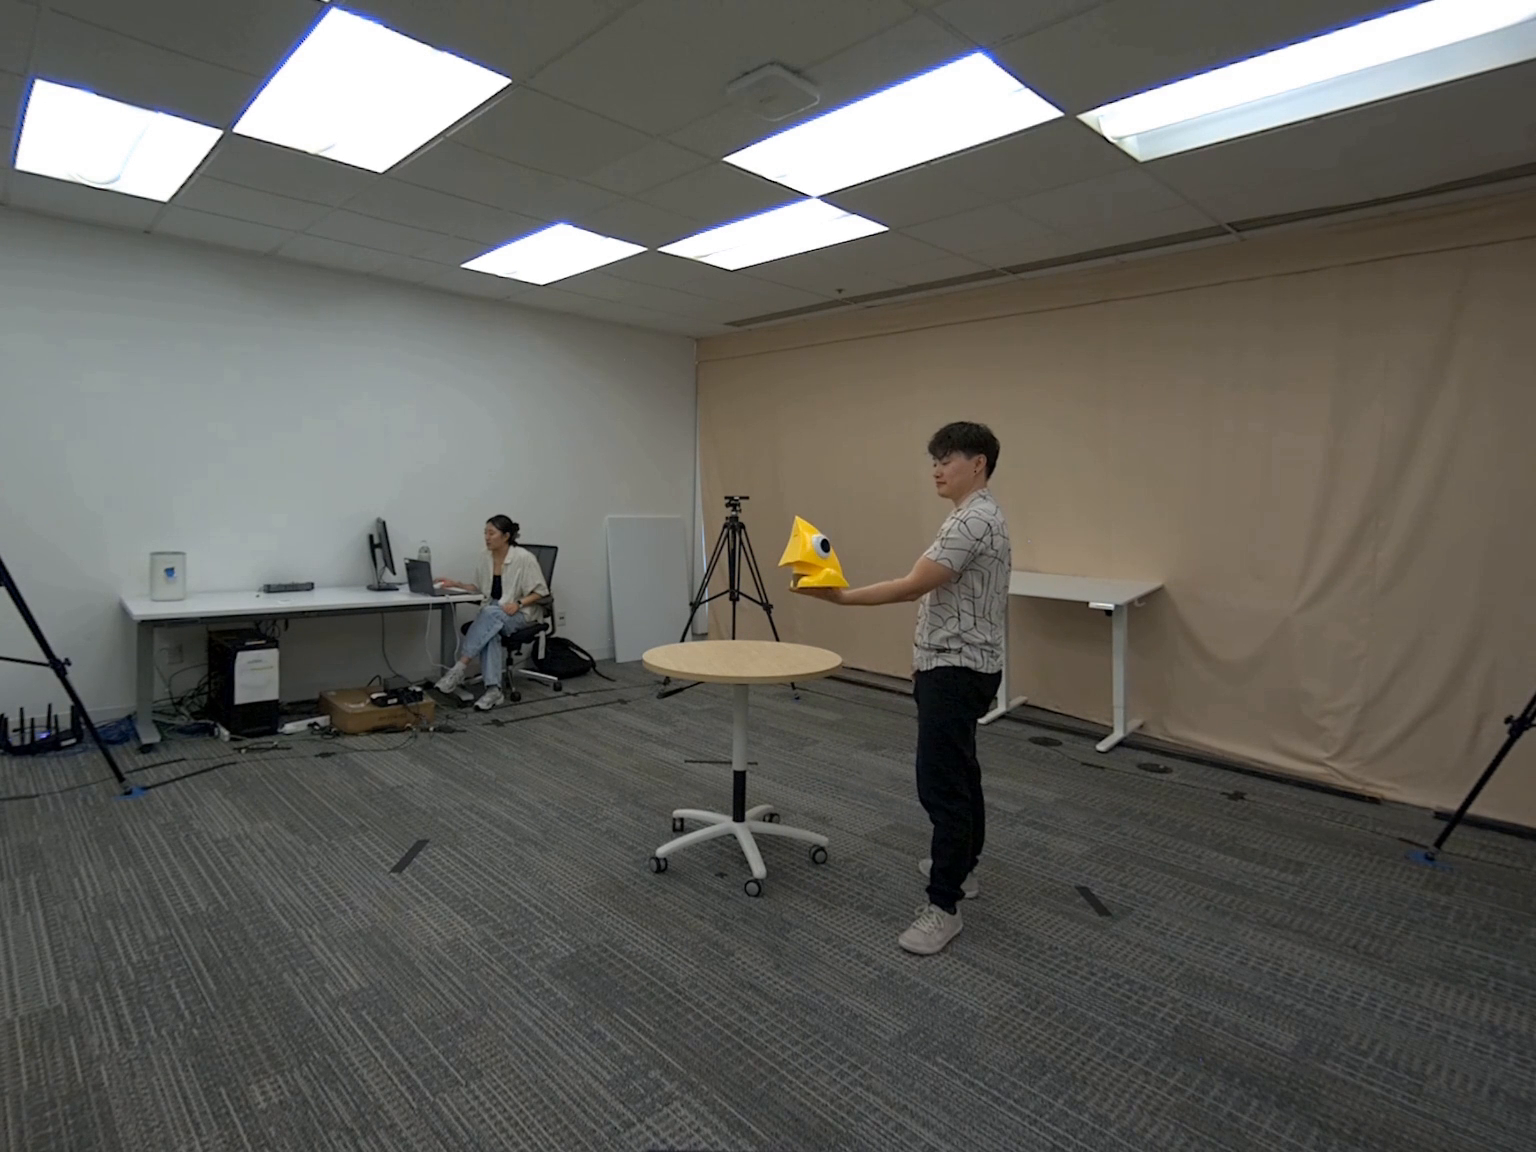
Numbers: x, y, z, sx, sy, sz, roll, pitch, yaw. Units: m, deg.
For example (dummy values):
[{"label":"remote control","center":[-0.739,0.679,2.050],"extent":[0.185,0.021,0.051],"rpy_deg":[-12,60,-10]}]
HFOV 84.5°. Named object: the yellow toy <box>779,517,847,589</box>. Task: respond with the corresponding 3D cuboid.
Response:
[{"label":"yellow toy","center":[0.145,-0.077,2.689],"extent":[0.191,0.232,0.206],"rpy_deg":[0,-6,-15]}]
